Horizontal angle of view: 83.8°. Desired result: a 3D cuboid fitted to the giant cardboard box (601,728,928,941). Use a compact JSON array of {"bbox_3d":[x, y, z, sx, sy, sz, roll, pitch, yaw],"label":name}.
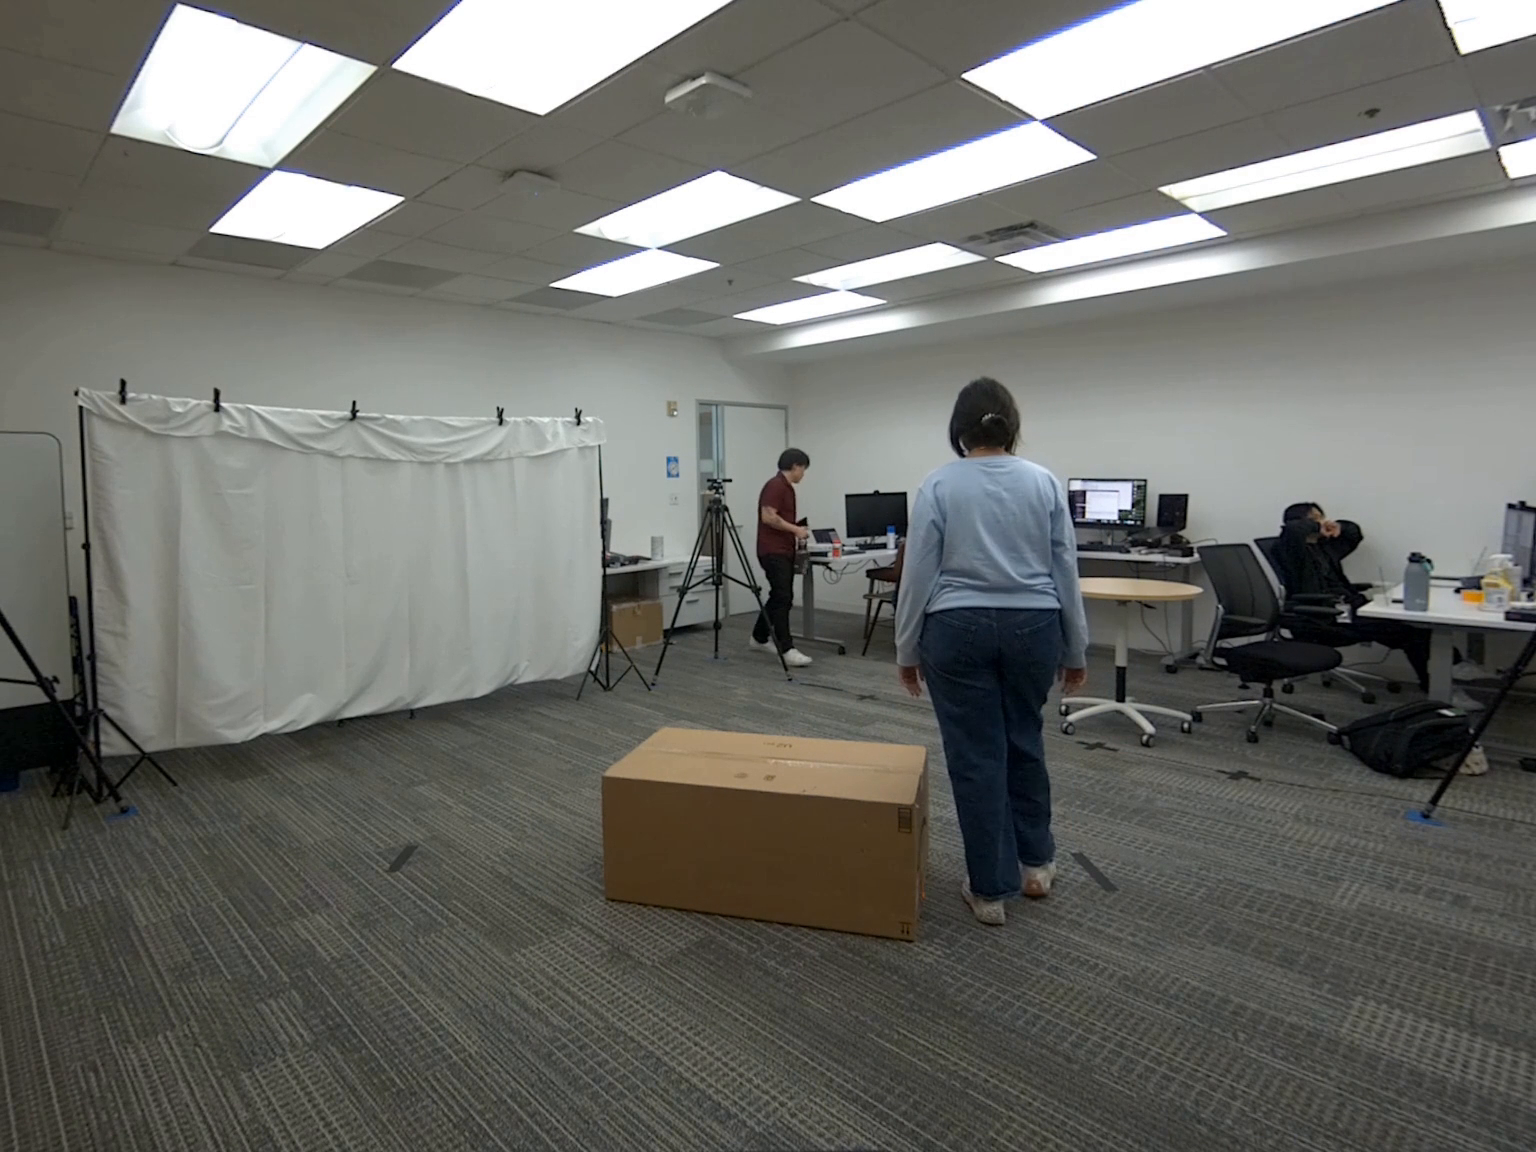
[{"bbox_3d":[0.013,0.844,2.968,1.043,0.424,0.571,1,6,17],"label":"giant cardboard box"}]
